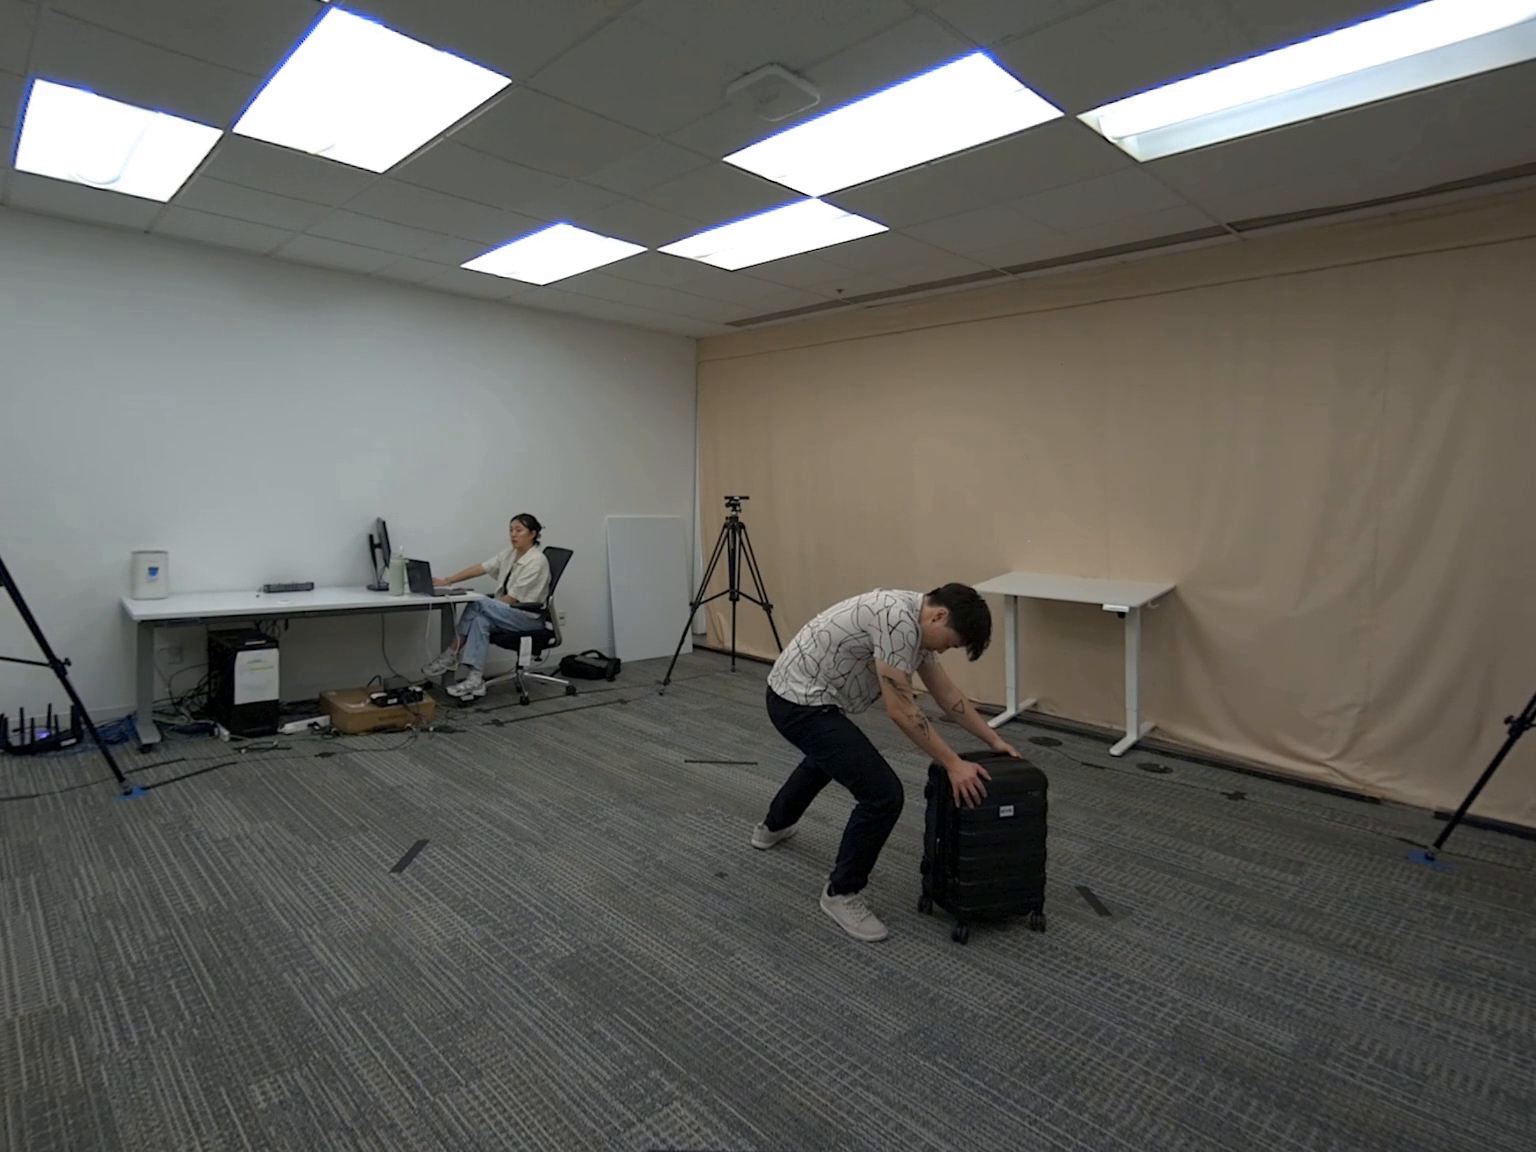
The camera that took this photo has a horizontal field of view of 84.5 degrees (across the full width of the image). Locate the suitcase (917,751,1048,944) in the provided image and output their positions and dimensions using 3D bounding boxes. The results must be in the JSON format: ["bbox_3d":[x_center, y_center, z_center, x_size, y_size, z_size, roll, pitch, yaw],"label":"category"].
[{"bbox_3d":[0.723,0.879,2.822,0.369,0.549,0.252,2,2,-21],"label":"suitcase"}]
